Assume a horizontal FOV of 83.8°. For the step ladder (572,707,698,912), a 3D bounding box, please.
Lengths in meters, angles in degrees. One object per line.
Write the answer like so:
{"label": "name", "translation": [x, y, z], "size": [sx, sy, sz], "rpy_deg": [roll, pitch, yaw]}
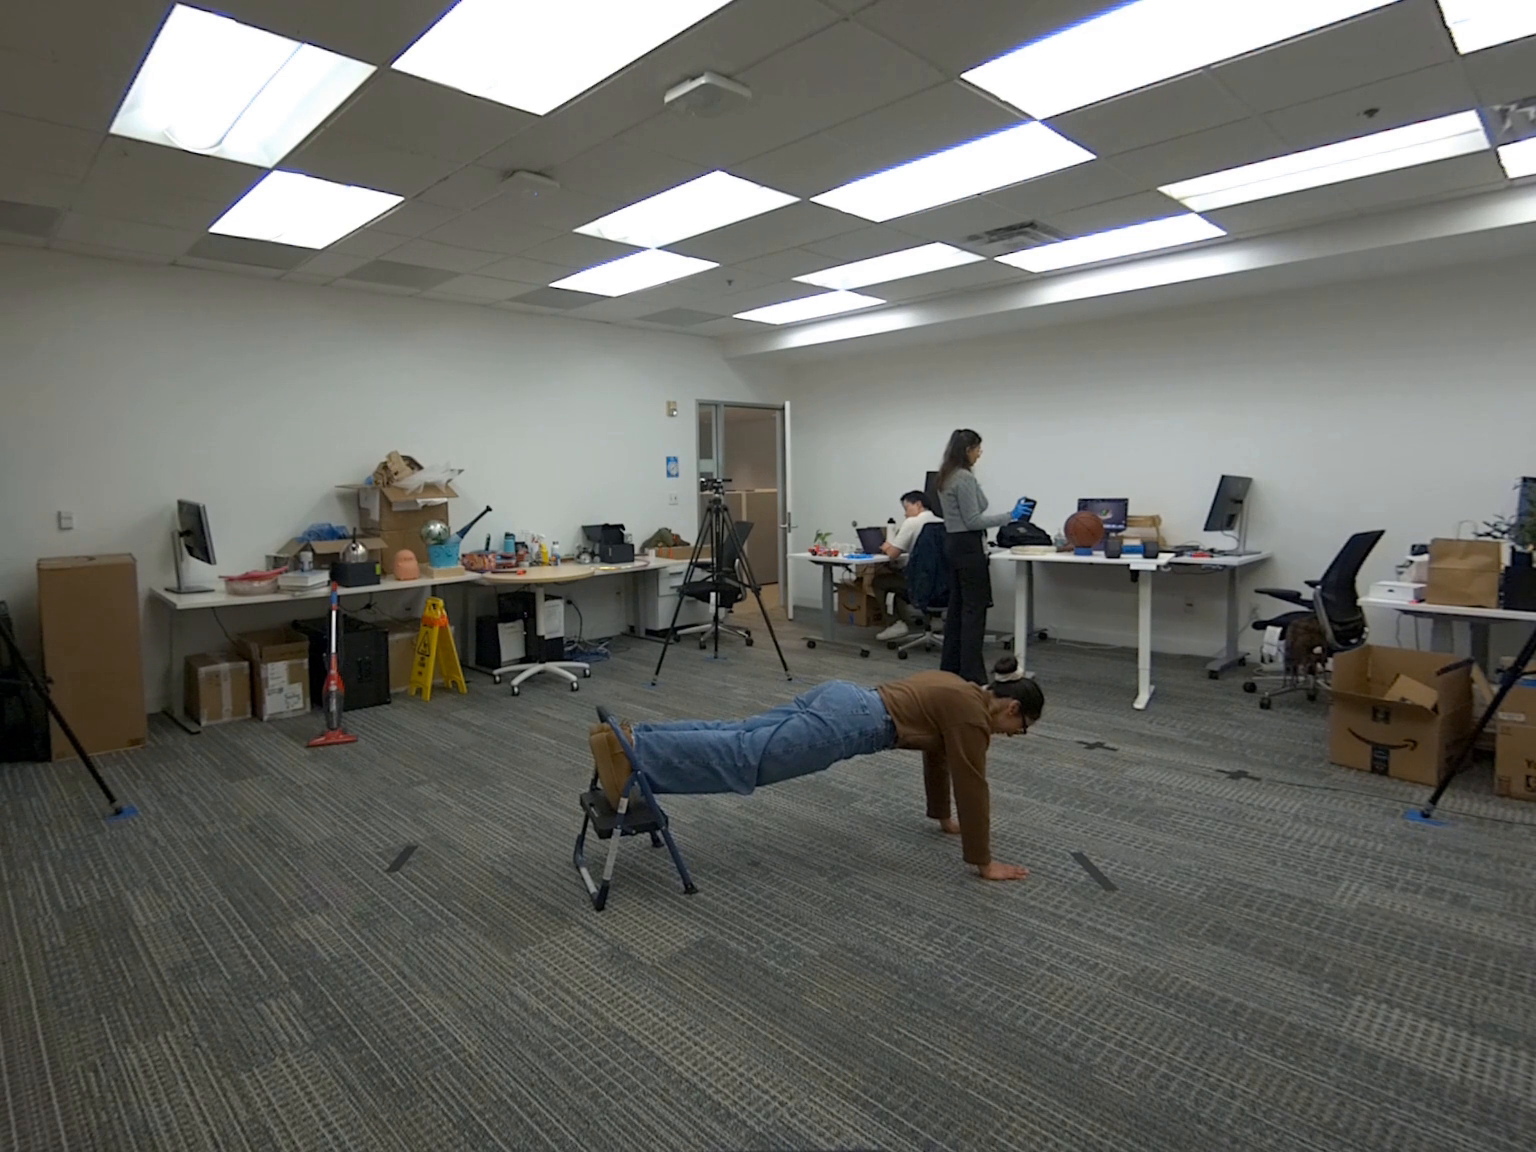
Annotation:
{"label": "step ladder", "translation": [-0.483, 0.762, 3.007], "size": [0.342, 0.604, 0.441], "rpy_deg": [-3, 5, -23]}
